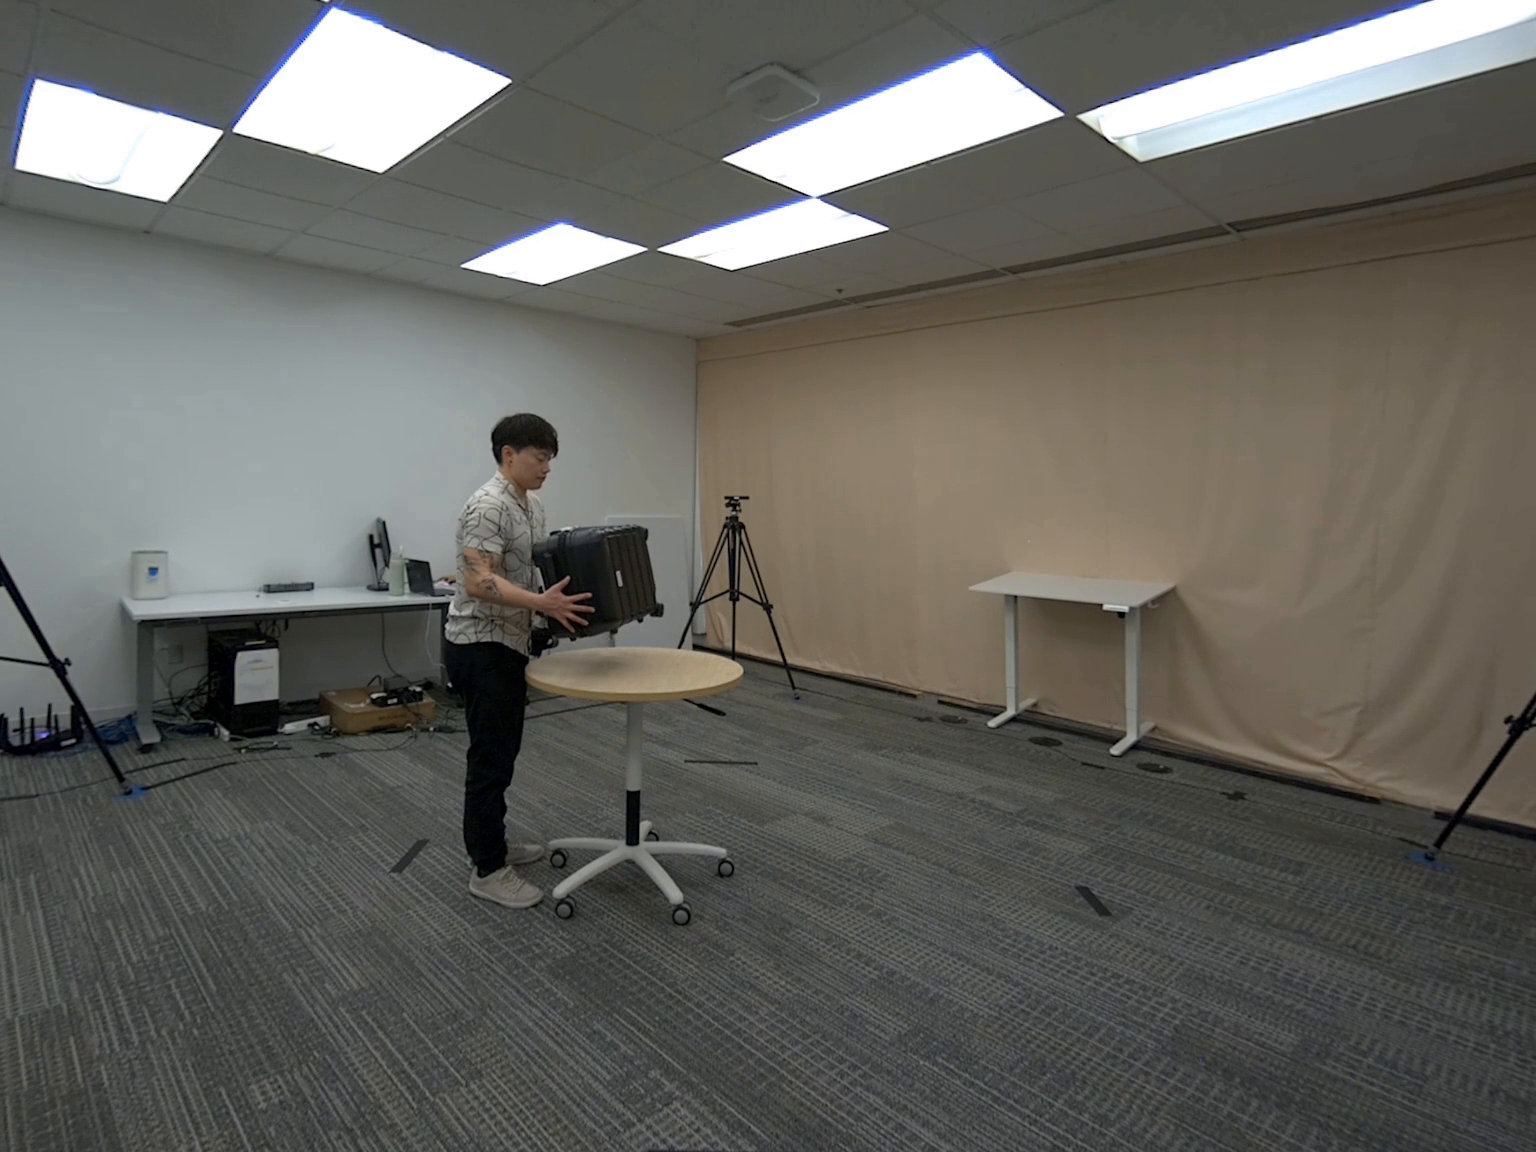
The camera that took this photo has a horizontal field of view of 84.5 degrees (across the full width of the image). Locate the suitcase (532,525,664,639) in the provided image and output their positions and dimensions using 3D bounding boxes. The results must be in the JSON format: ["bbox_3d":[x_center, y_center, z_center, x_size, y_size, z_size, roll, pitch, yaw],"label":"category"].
[{"bbox_3d":[-0.595,-0.001,2.968,0.250,0.376,0.545,-10,0,10],"label":"suitcase"}]
